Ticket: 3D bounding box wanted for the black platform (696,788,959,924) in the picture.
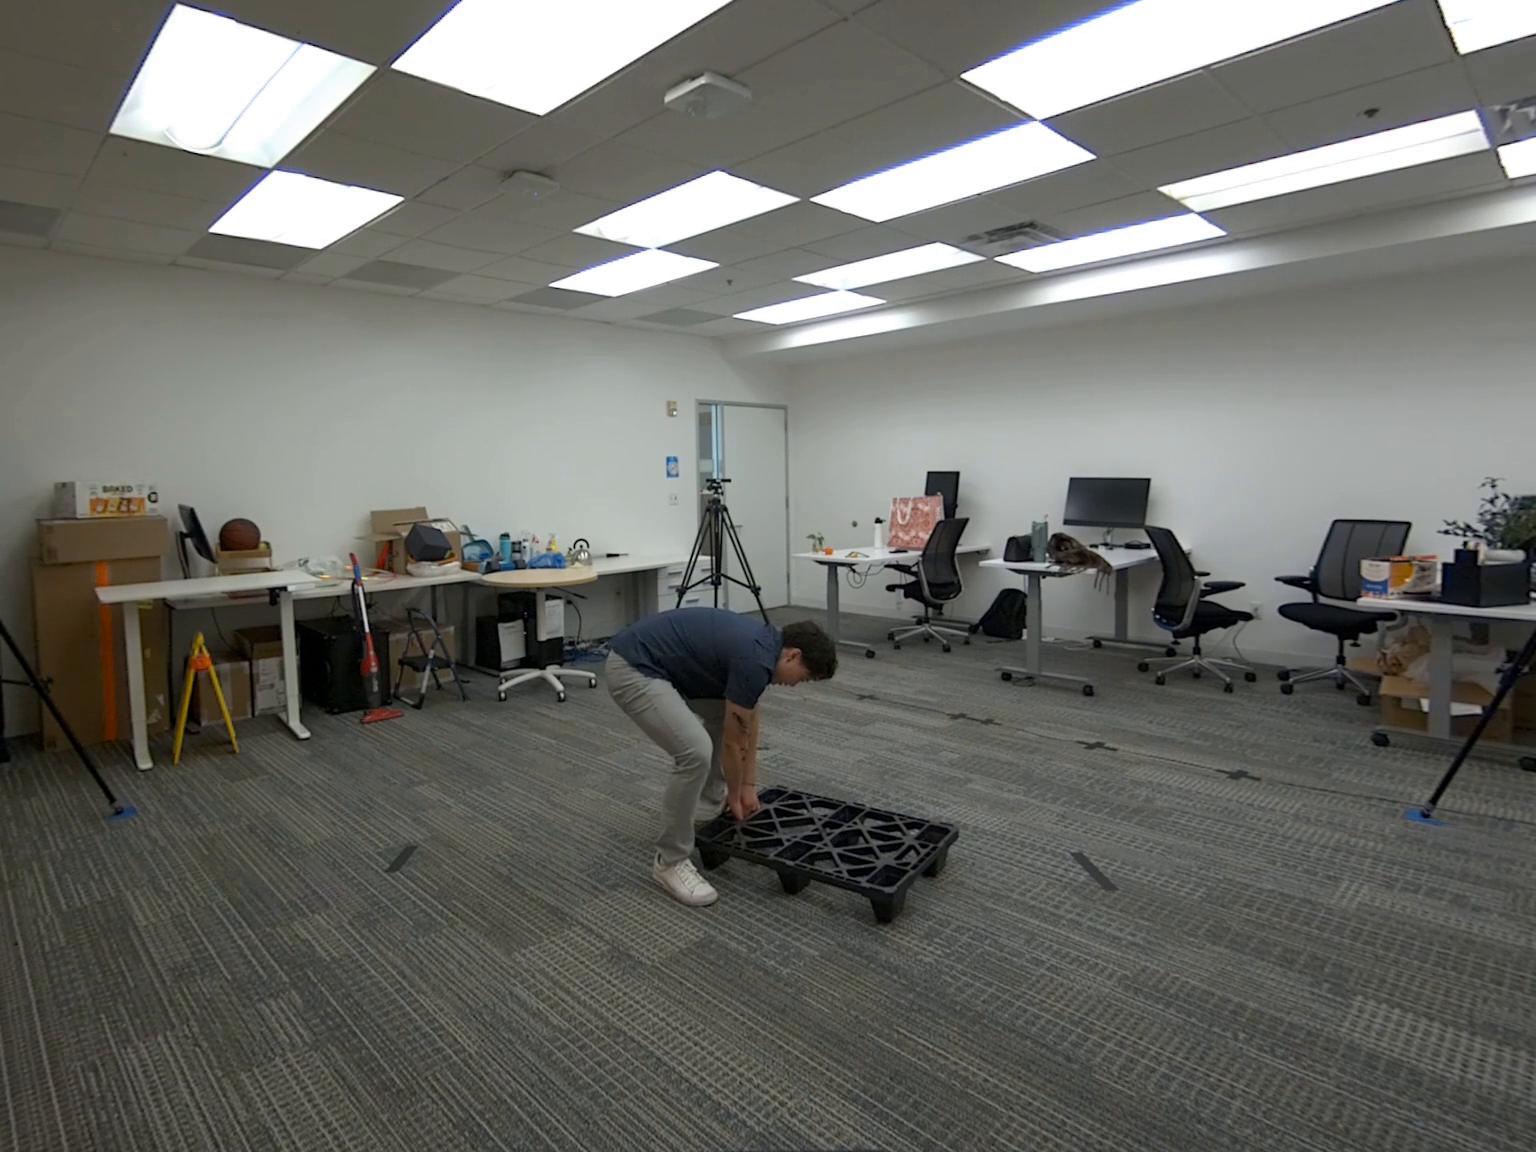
[{"bbox_3d":[0.199,0.972,3.065,0.829,0.143,0.590,4,7,34],"label":"black platform"}]
